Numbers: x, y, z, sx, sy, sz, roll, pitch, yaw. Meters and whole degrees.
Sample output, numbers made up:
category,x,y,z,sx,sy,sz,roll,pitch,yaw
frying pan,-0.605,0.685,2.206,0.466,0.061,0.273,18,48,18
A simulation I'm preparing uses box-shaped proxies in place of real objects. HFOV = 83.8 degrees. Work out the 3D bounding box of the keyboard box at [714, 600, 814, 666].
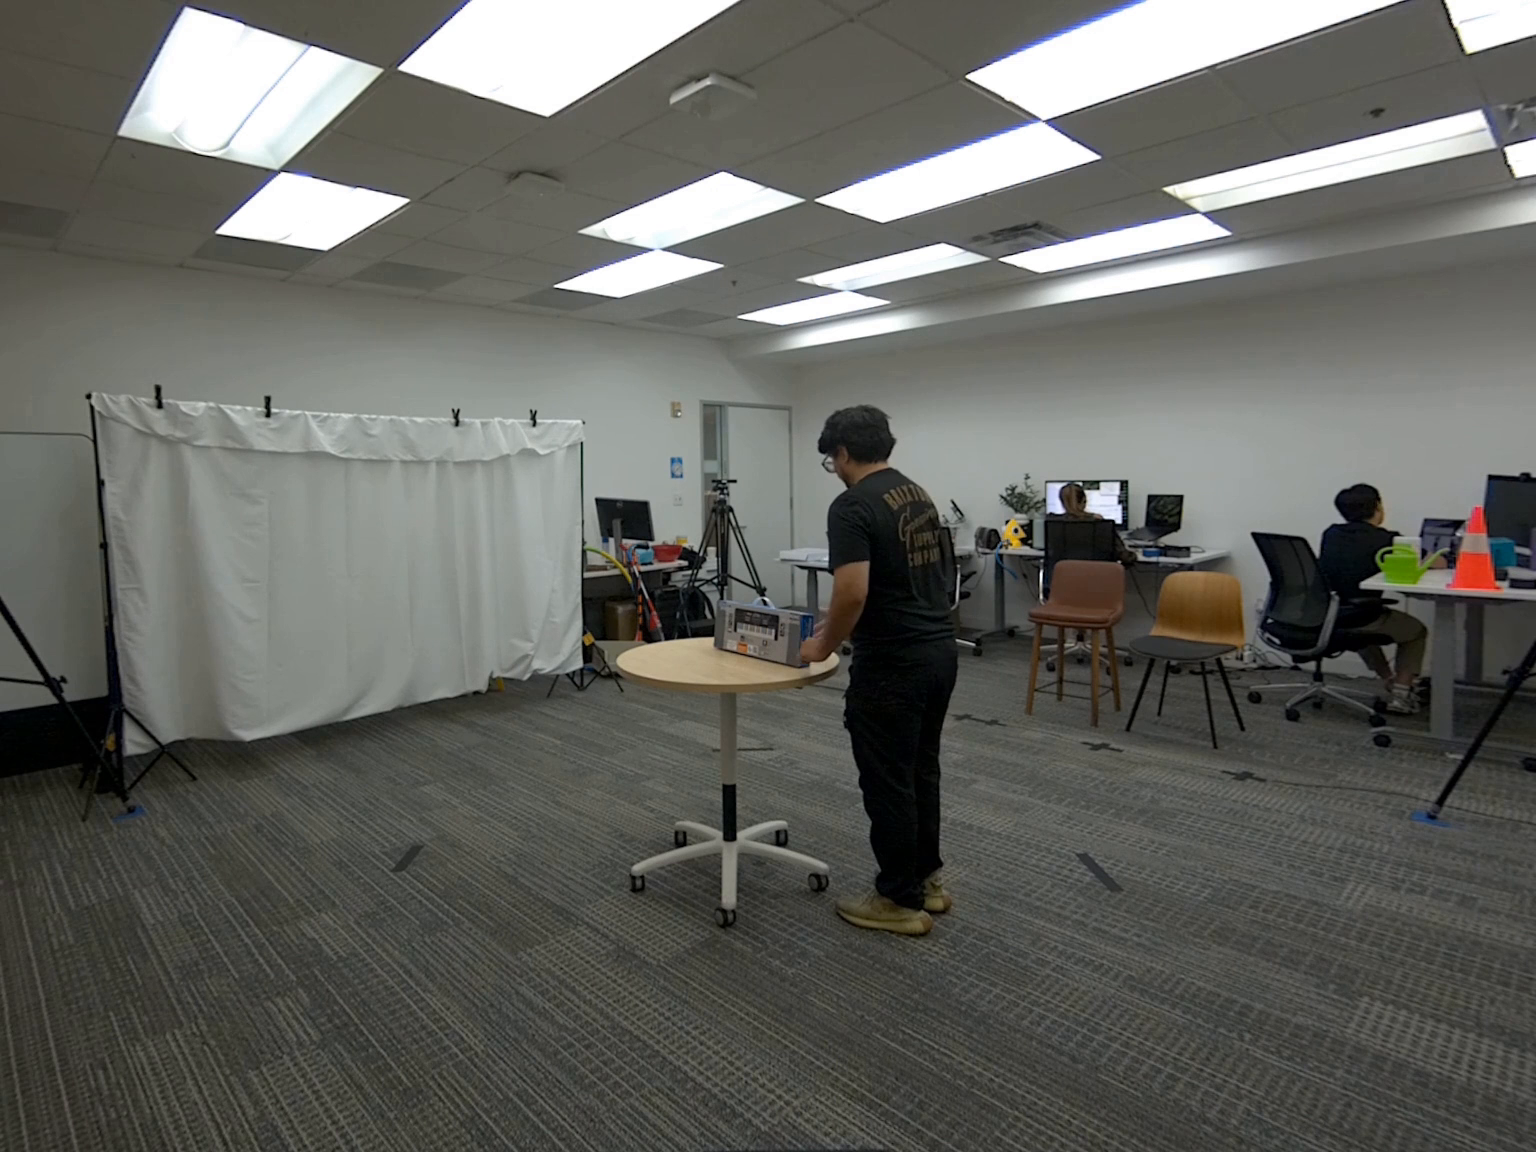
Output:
category,x,y,z,sx,sy,sz,roll,pitch,yaw
keyboard box,-0.025,0.196,2.952,0.057,0.176,0.451,3,3,-41
